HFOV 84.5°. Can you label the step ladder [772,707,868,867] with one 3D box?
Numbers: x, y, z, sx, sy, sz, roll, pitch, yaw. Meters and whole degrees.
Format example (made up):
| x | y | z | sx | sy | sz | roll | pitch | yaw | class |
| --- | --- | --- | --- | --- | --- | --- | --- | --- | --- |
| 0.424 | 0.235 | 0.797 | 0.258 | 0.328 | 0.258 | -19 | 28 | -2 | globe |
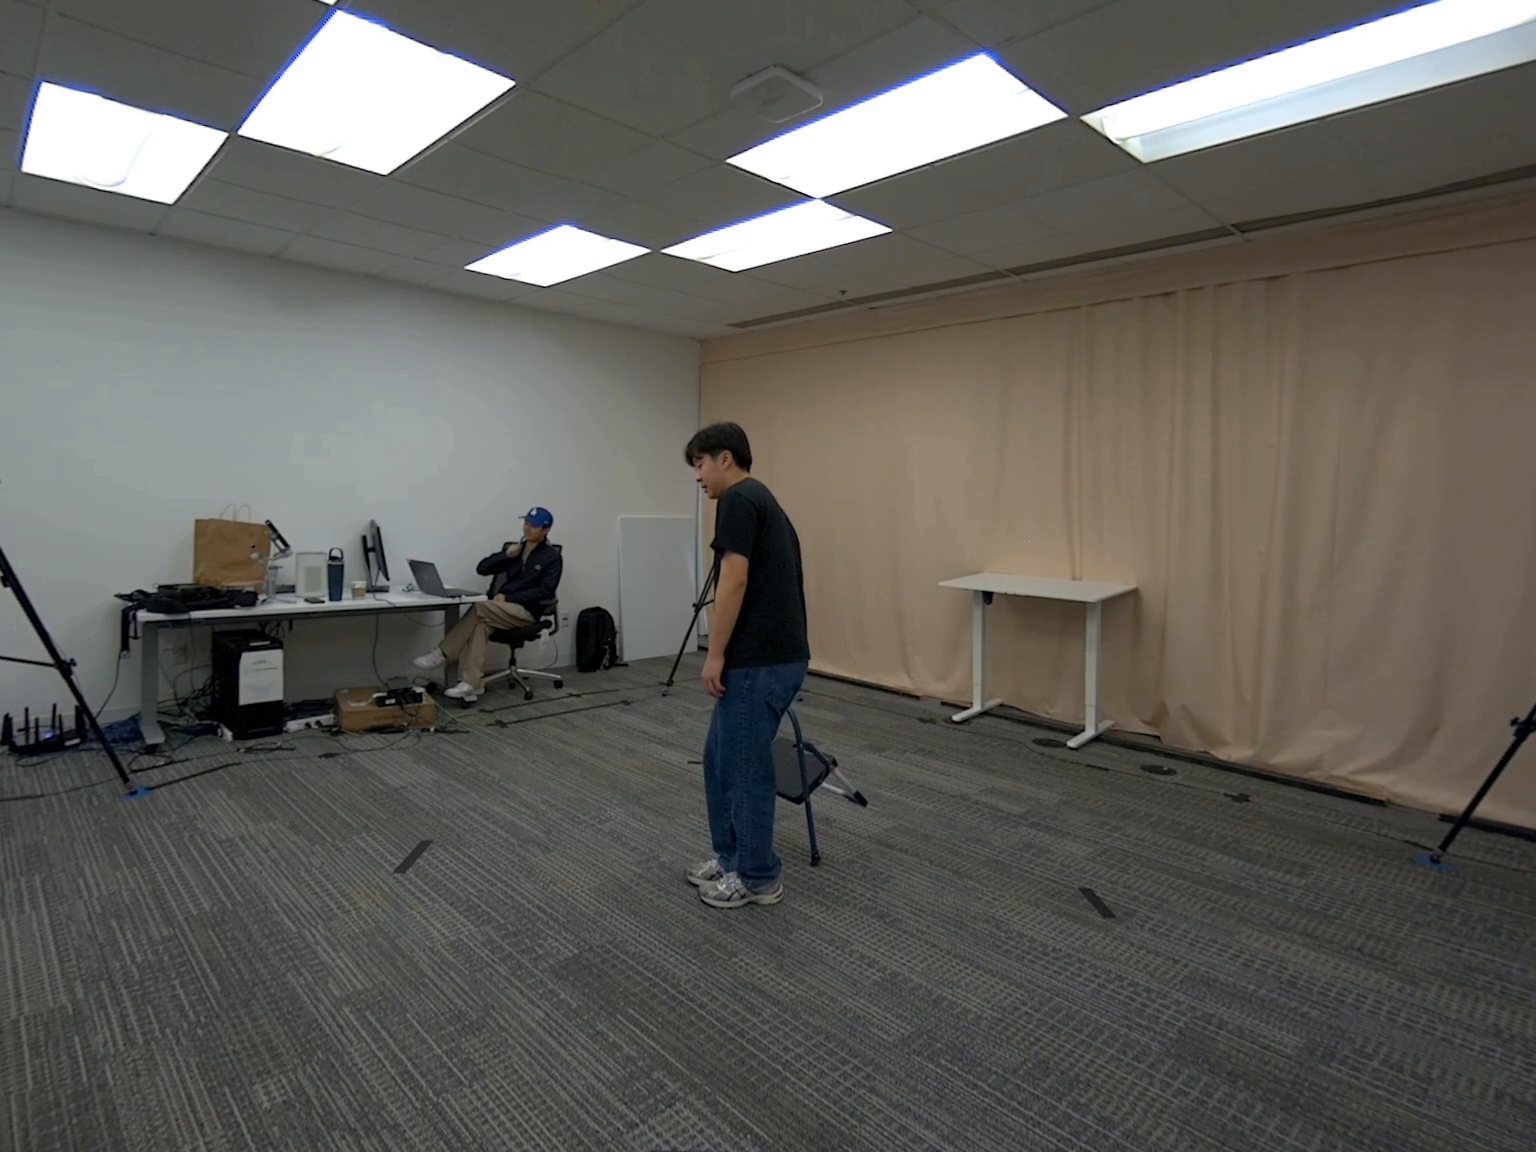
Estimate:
| x | y | z | sx | sy | sz | roll | pitch | yaw | class |
| --- | --- | --- | --- | --- | --- | --- | --- | --- | --- |
| 0.043 | 0.741 | 3.350 | 0.347 | 0.594 | 0.441 | -38 | 25 | -30 | step ladder |
